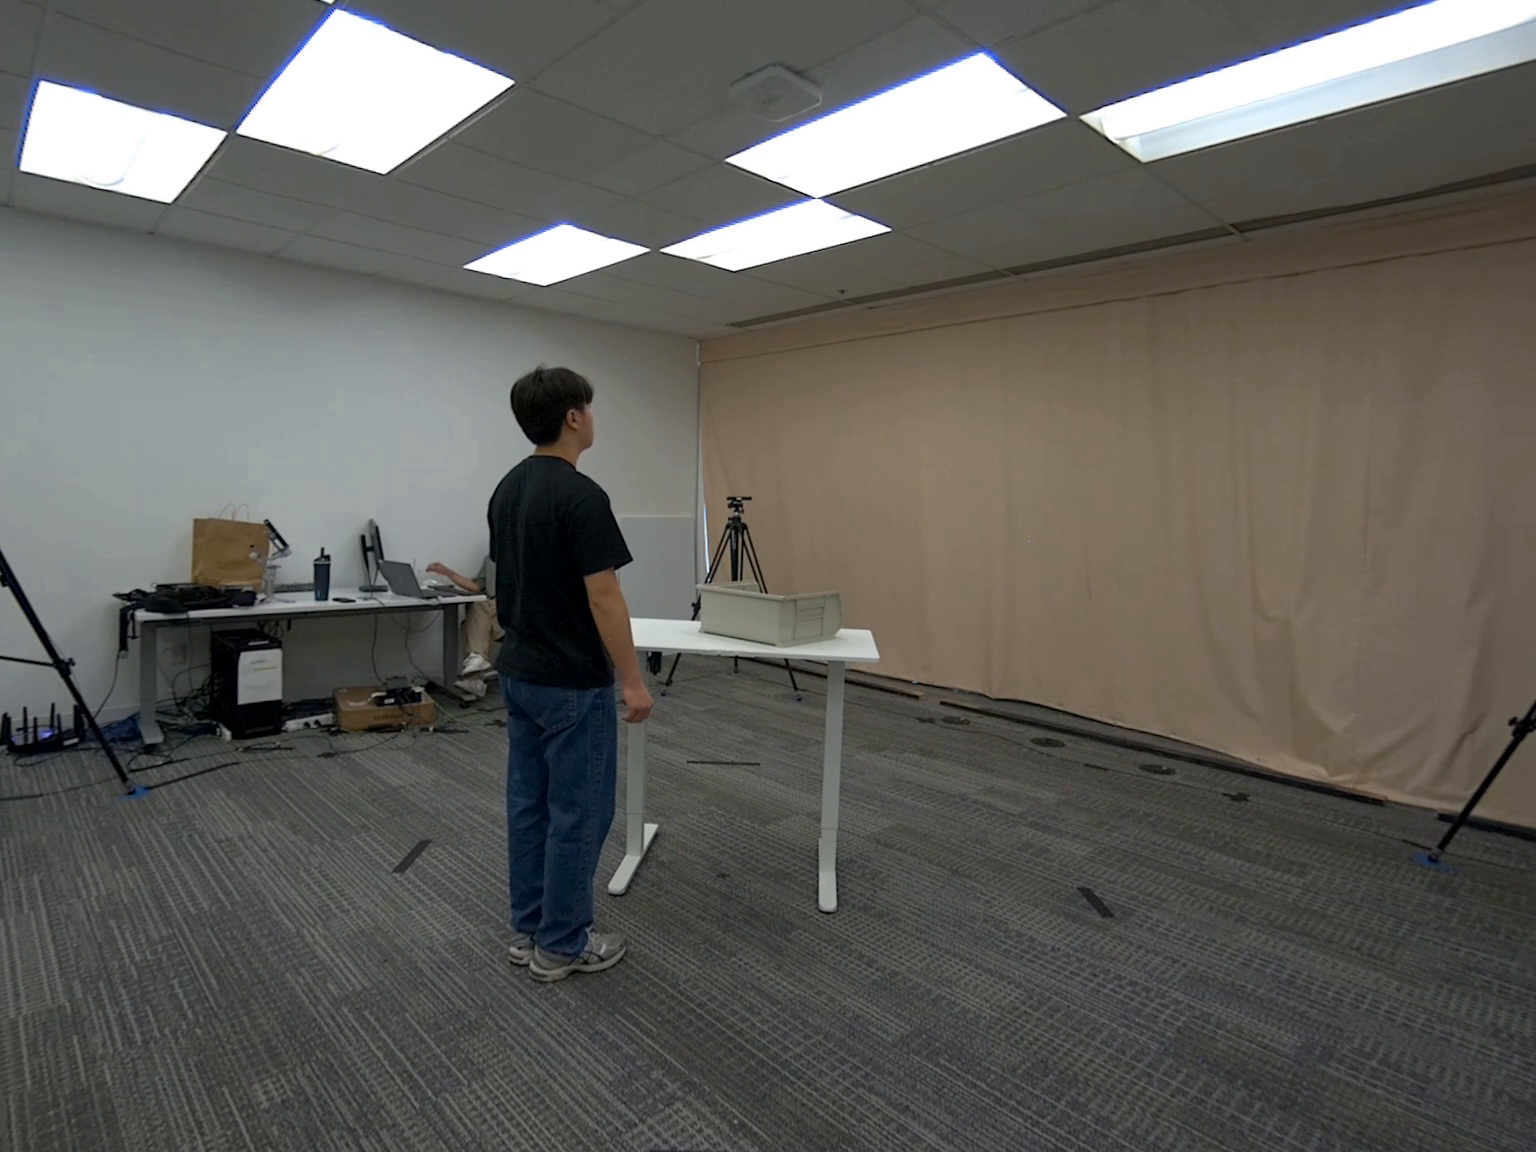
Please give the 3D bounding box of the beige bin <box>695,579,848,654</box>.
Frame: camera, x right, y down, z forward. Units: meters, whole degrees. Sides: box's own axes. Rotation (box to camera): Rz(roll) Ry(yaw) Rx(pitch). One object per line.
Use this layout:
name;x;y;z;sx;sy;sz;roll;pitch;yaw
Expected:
beige bin;0.011;0.137;3.155;0.433;0.188;0.369;6;8;41
